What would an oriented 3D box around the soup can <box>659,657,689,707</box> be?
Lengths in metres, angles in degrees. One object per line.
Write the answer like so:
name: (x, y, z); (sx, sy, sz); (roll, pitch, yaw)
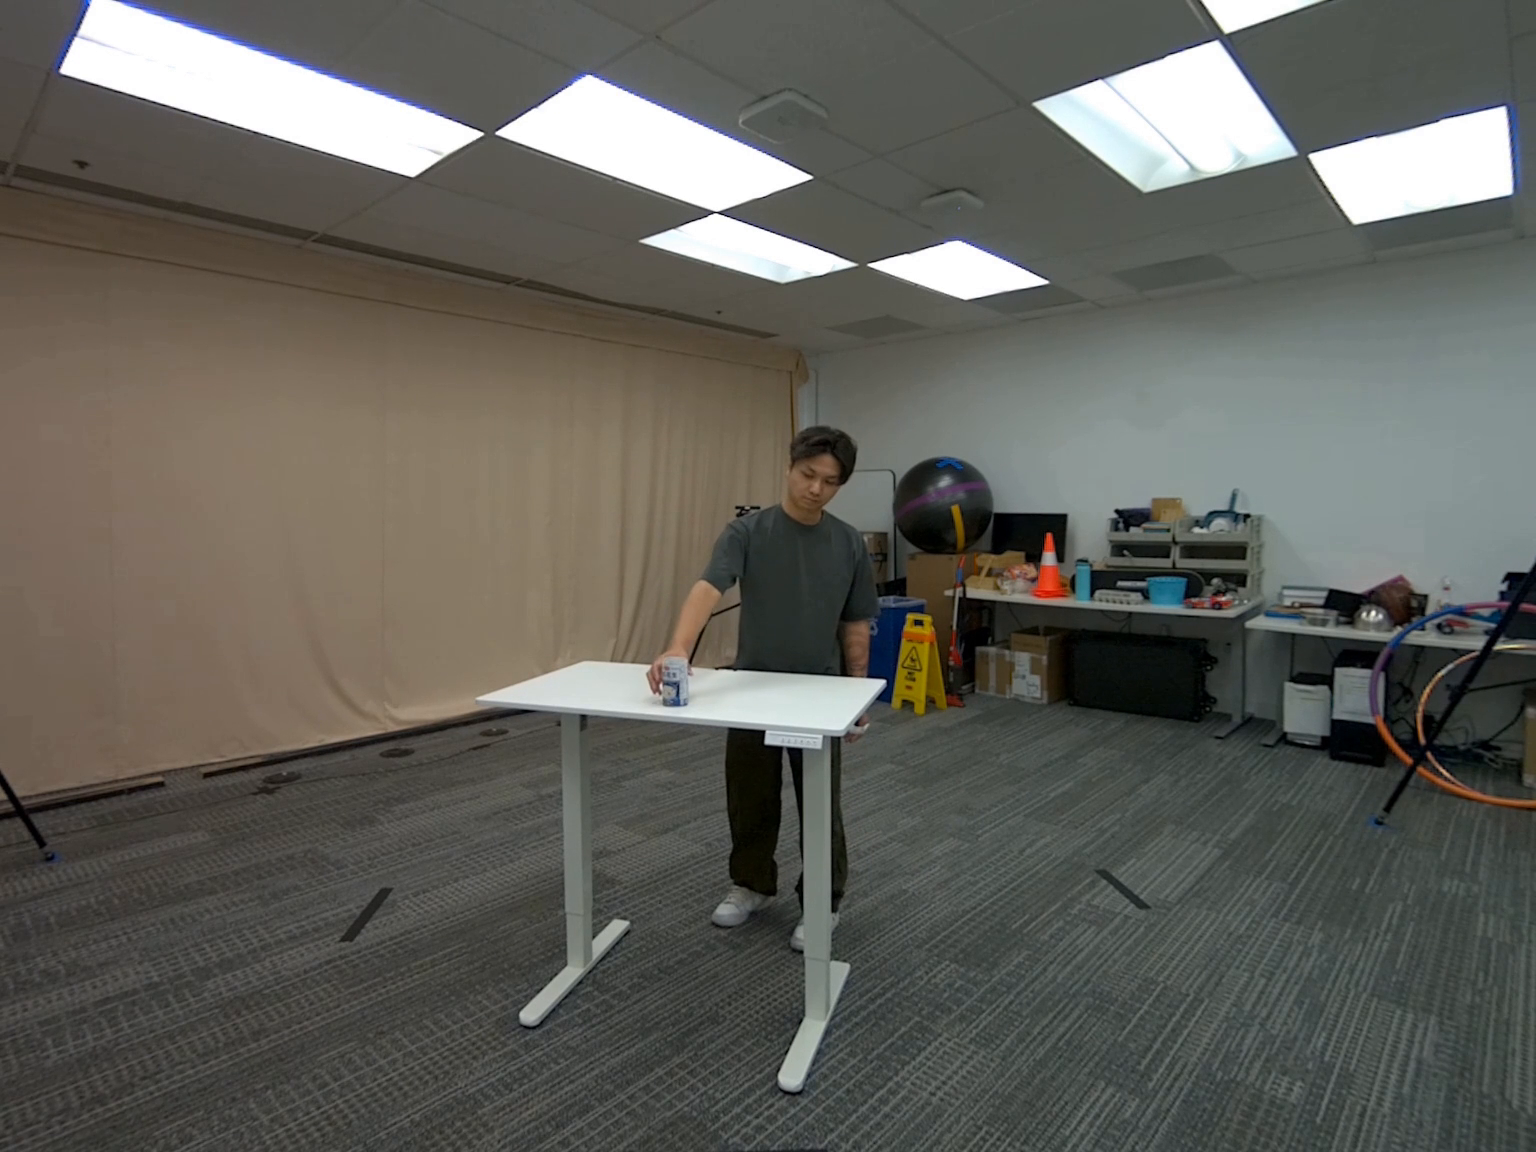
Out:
soup can: (-0.231, 0.271, 2.164); (0.067, 0.121, 0.067); (1, 6, -2)
